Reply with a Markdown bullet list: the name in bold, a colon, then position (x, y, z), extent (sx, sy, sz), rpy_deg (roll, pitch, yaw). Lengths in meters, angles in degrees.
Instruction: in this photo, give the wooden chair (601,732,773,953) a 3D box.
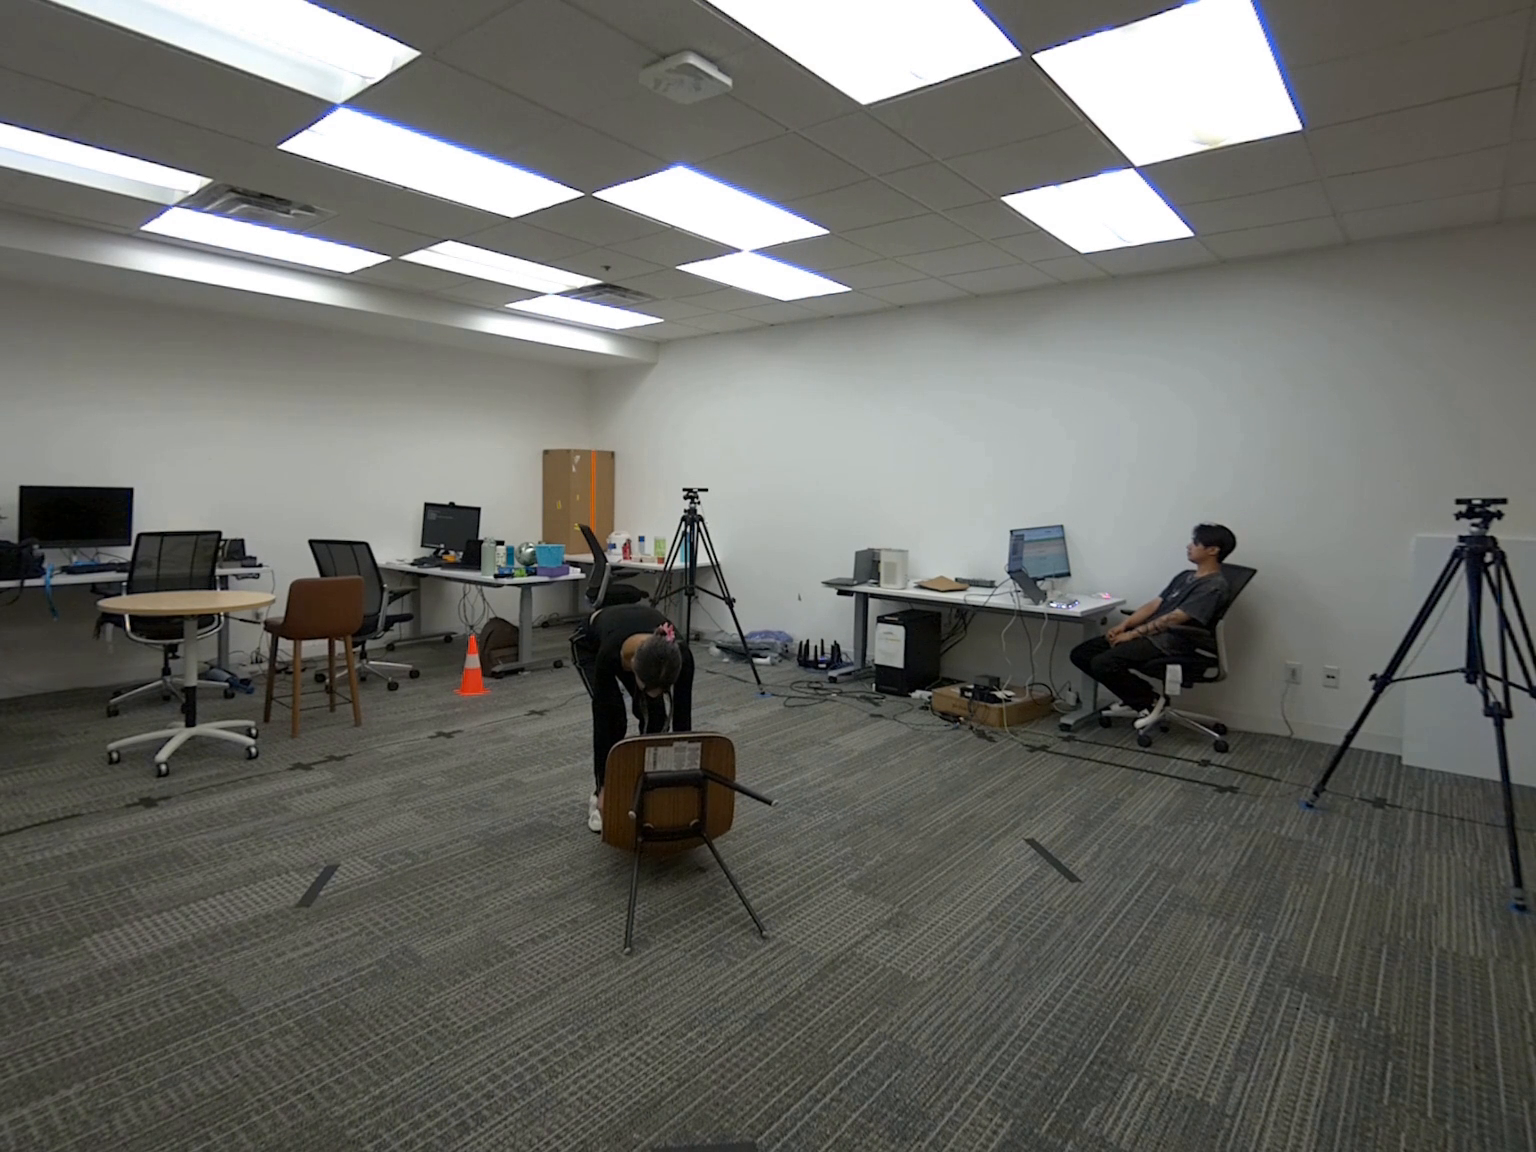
- **wooden chair**: position (-0.337, 0.790, 2.954), extent (0.470, 0.520, 0.899), rpy_deg (0, 8, -18)
